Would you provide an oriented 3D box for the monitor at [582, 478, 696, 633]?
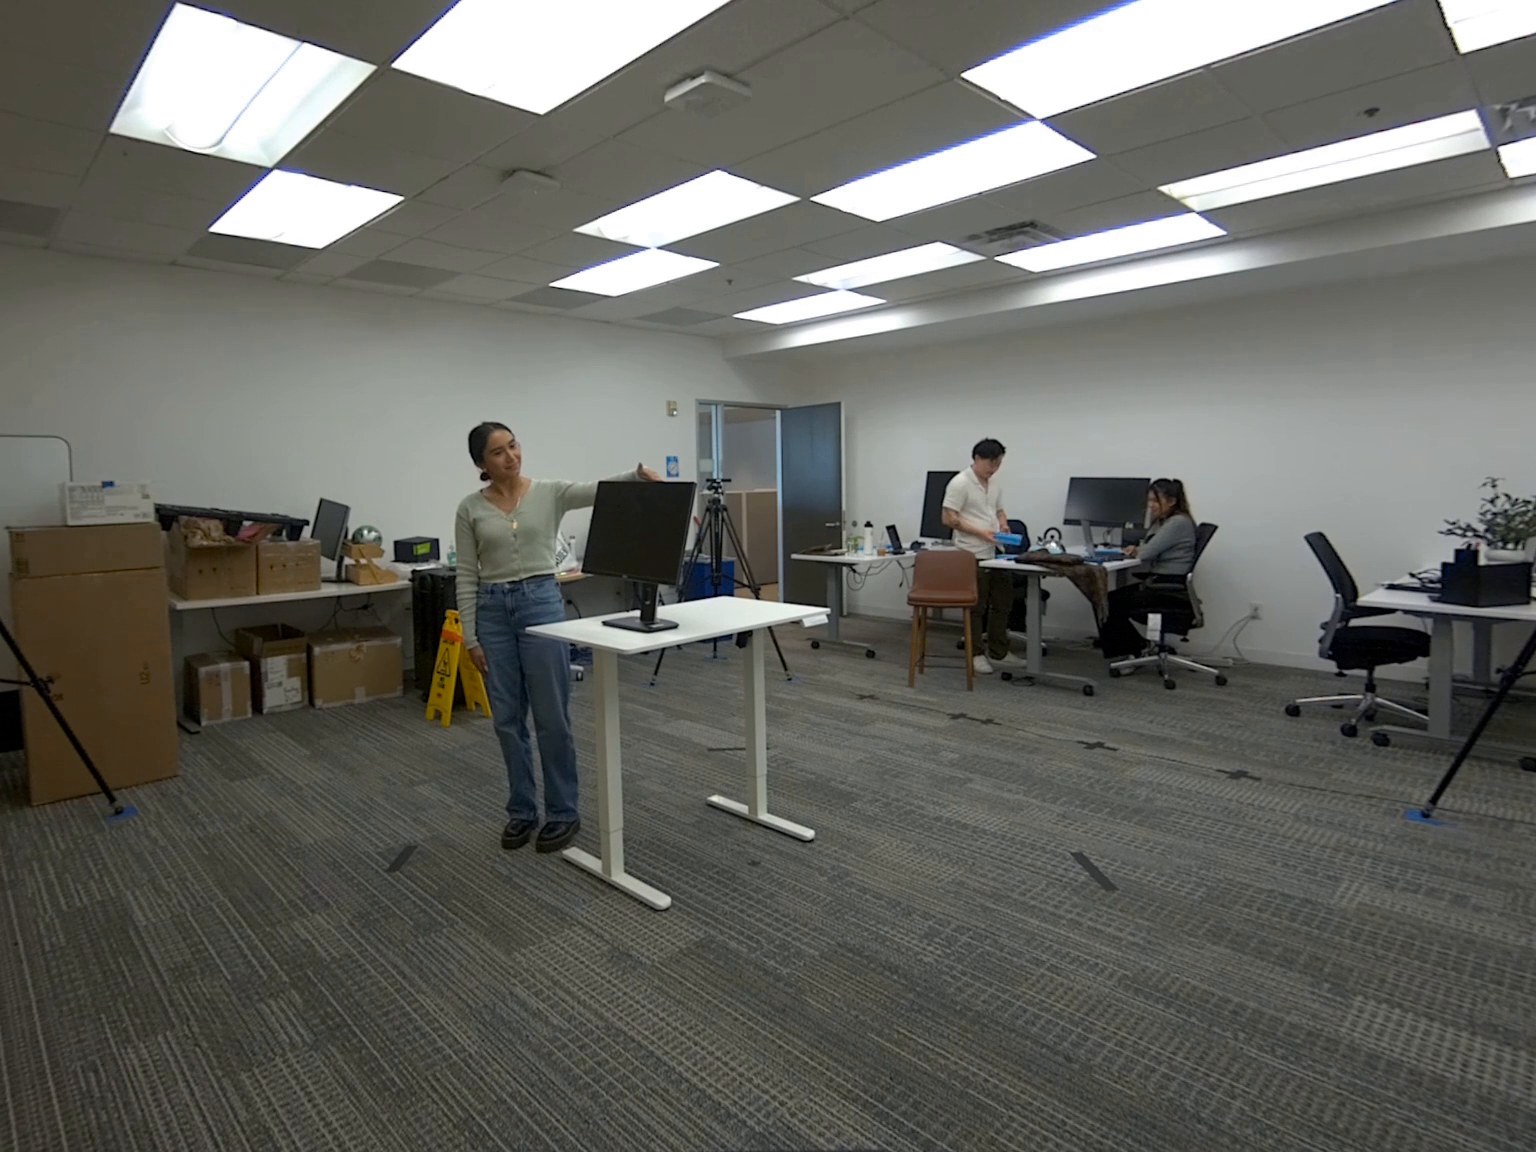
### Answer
[{"bbox_3d":[-0.445,-0.071,3.032,0.555,0.521,0.182,3,4,42],"label":"monitor"}]
